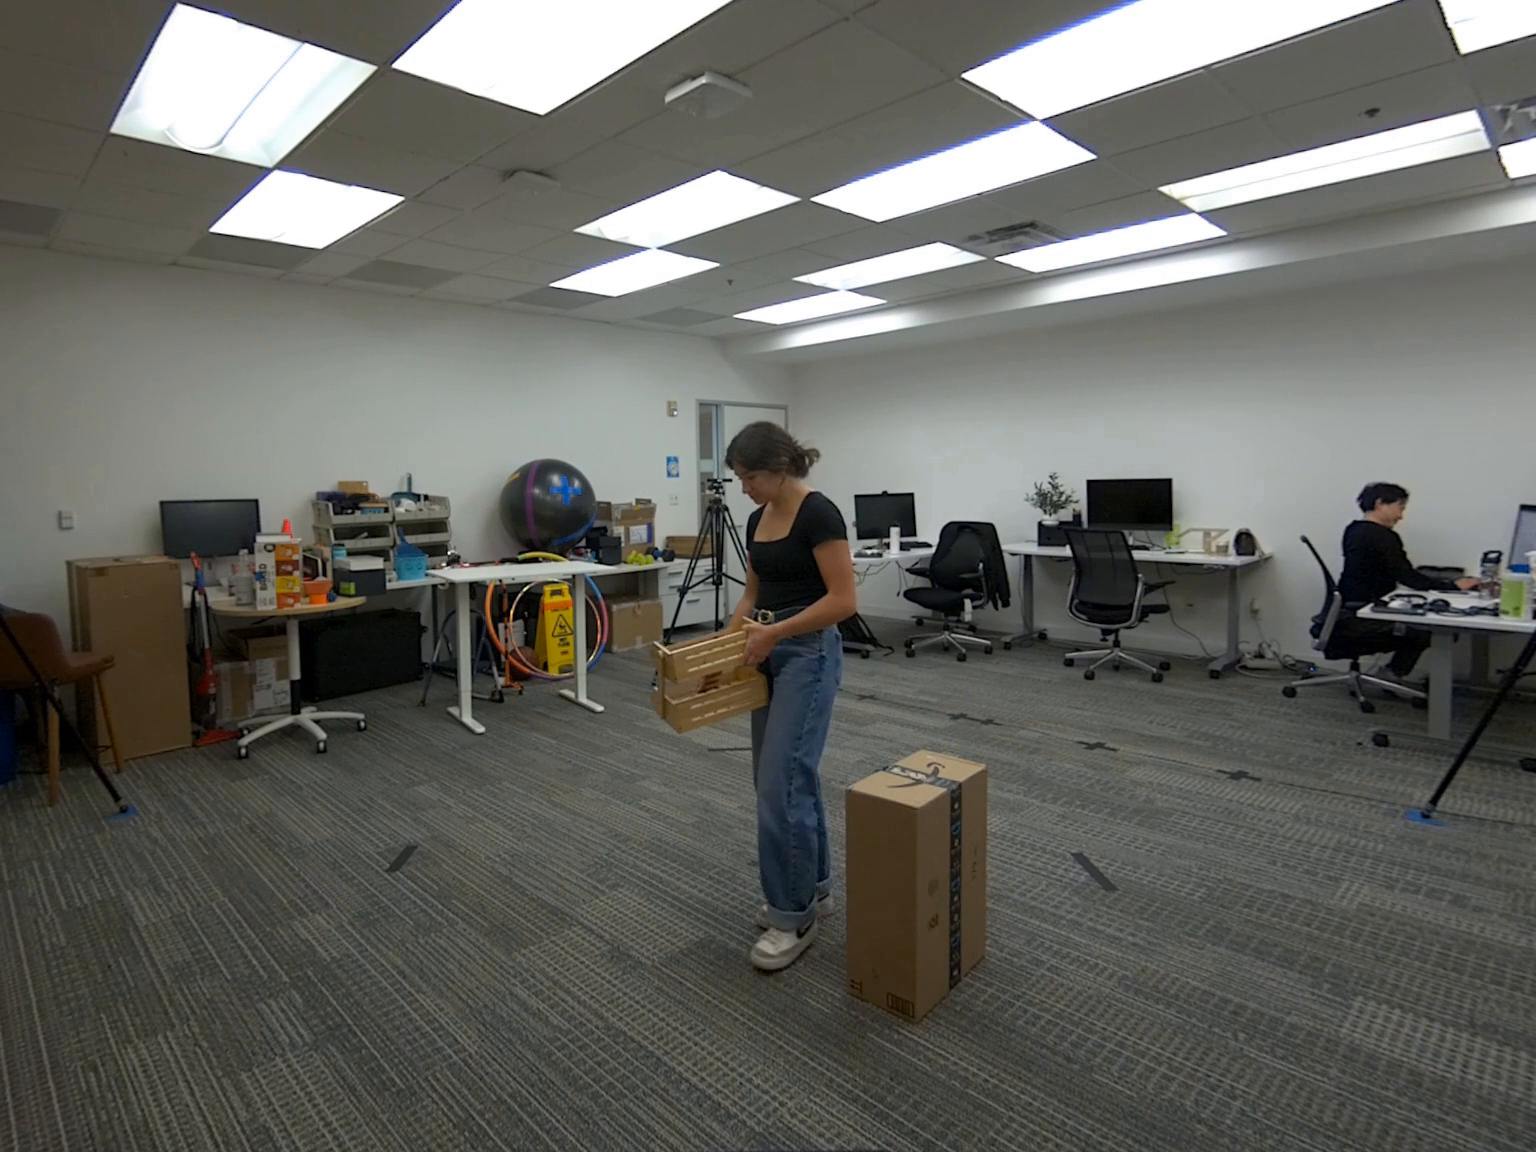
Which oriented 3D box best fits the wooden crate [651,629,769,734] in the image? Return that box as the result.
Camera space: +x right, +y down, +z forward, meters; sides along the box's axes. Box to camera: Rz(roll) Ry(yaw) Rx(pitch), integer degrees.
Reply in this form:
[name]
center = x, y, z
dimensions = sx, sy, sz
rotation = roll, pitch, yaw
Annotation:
[wooden crate]
center = -0.189, 0.281, 2.605
dimensions = 0.319, 0.270, 0.310
rotation = -14, 13, -23
